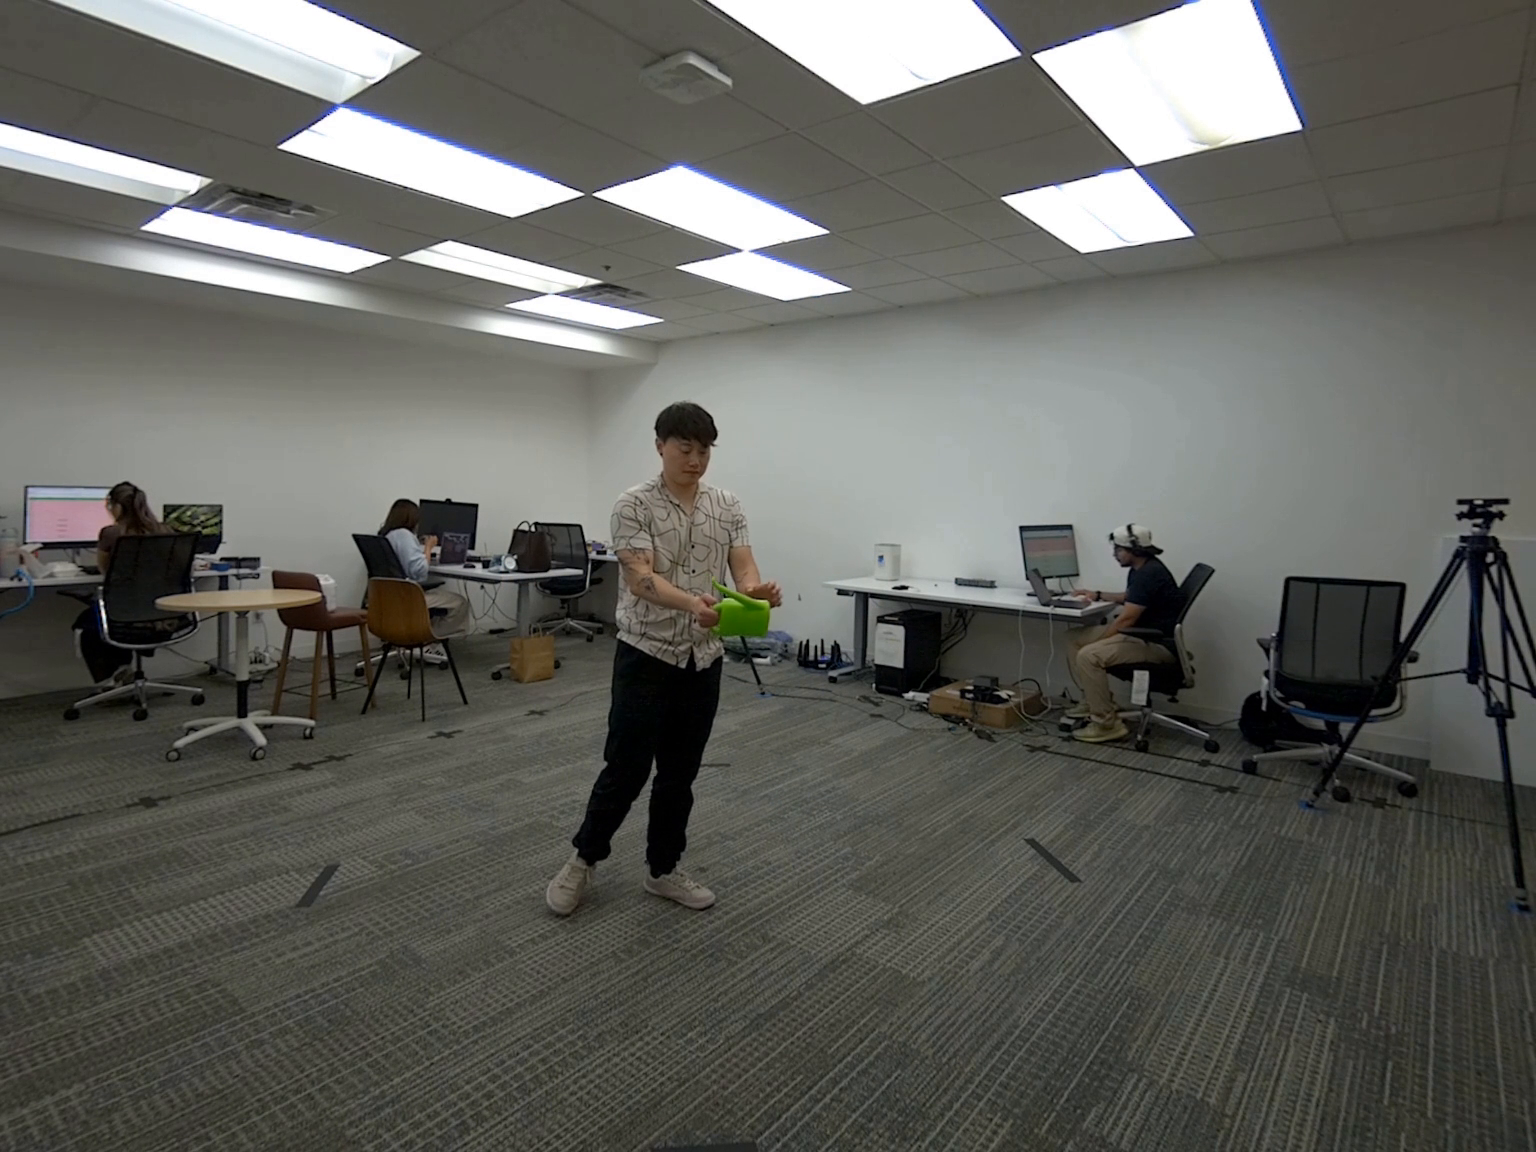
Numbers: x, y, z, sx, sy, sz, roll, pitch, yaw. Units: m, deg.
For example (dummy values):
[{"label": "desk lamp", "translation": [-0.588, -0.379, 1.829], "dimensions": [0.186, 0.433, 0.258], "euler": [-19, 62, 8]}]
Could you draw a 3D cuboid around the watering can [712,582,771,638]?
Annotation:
[{"label": "watering can", "translation": [-0.096, 0.103, 2.417], "dimensions": [0.176, 0.100, 0.274], "euler": [5, -25, -5]}]
